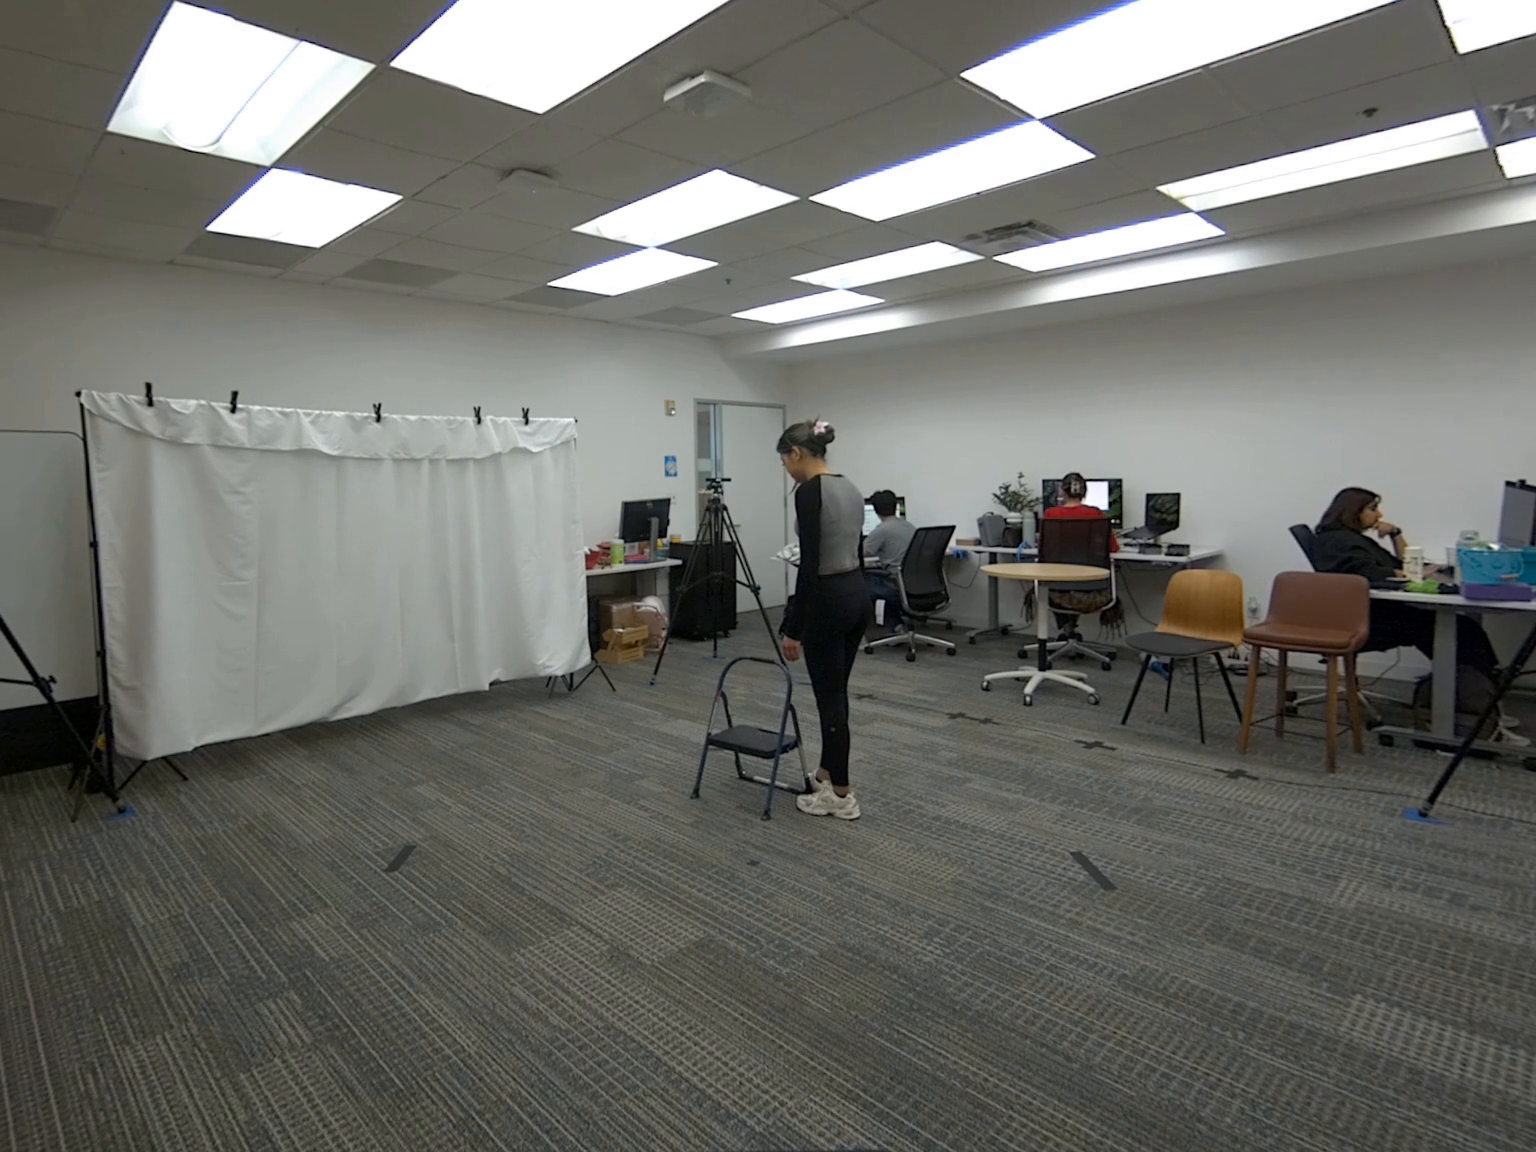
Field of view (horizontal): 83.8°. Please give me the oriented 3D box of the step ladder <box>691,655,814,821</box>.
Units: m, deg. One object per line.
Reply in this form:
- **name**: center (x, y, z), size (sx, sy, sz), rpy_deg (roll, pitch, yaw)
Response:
- **step ladder**: center (-0.076, 0.671, 3.734), size (0.444, 0.604, 0.340), rpy_deg (3, 6, 40)
